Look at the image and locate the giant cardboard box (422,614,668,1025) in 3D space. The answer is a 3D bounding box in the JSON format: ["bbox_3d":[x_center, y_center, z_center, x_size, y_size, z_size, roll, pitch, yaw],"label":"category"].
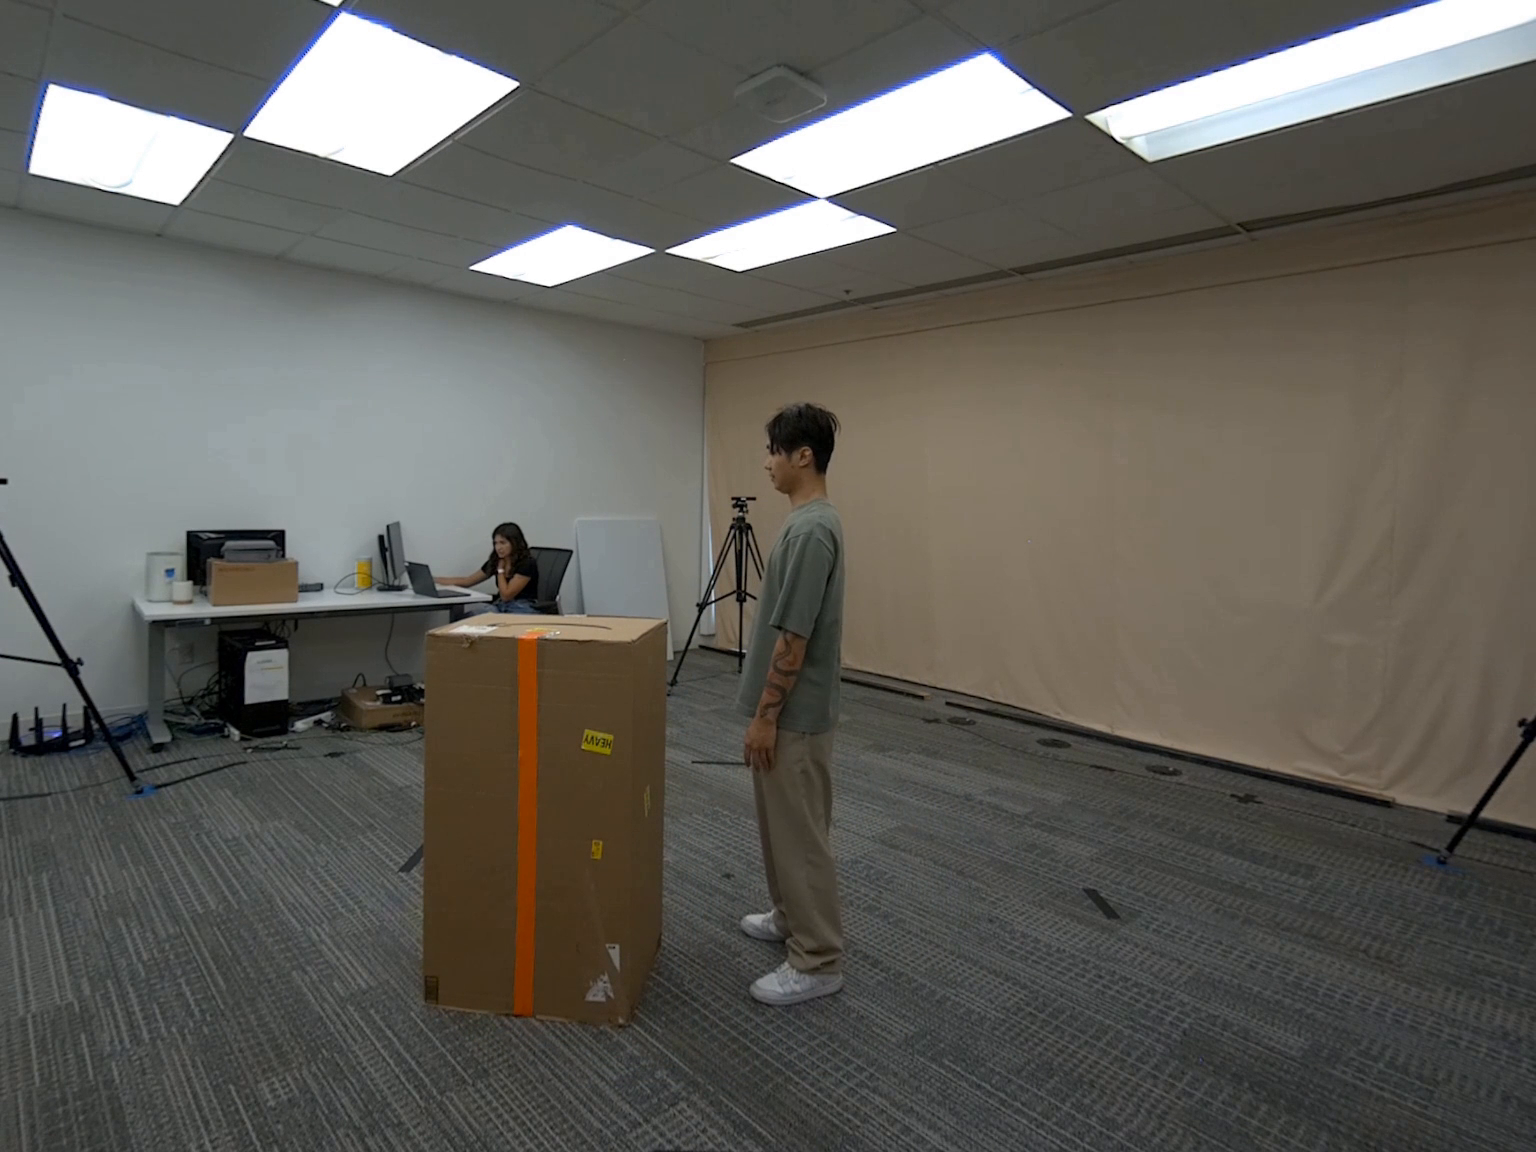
[{"bbox_3d":[-0.625,0.648,2.419,0.581,1.024,0.424,2,3,7],"label":"giant cardboard box"}]
